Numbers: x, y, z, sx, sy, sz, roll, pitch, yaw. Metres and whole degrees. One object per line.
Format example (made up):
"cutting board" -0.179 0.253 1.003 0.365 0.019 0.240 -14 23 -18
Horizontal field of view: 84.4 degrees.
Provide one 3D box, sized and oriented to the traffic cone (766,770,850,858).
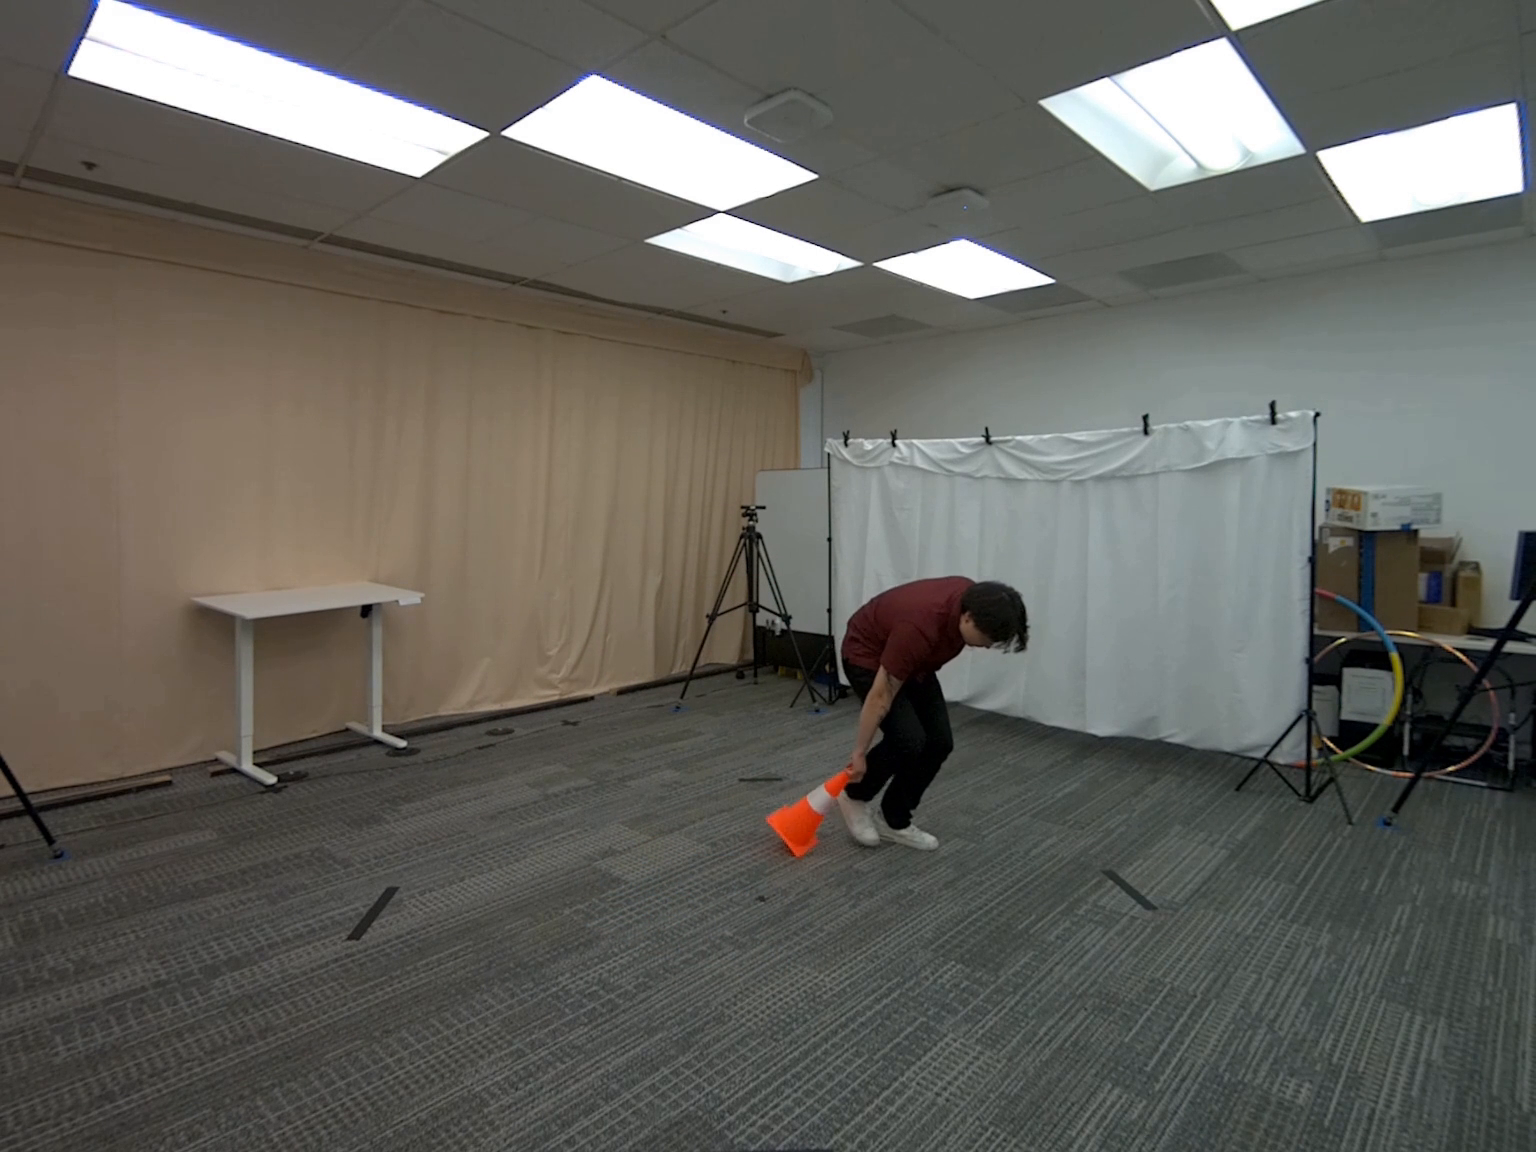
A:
"traffic cone" 0.212 0.907 3.380 0.198 0.385 0.210 19 28 -50
